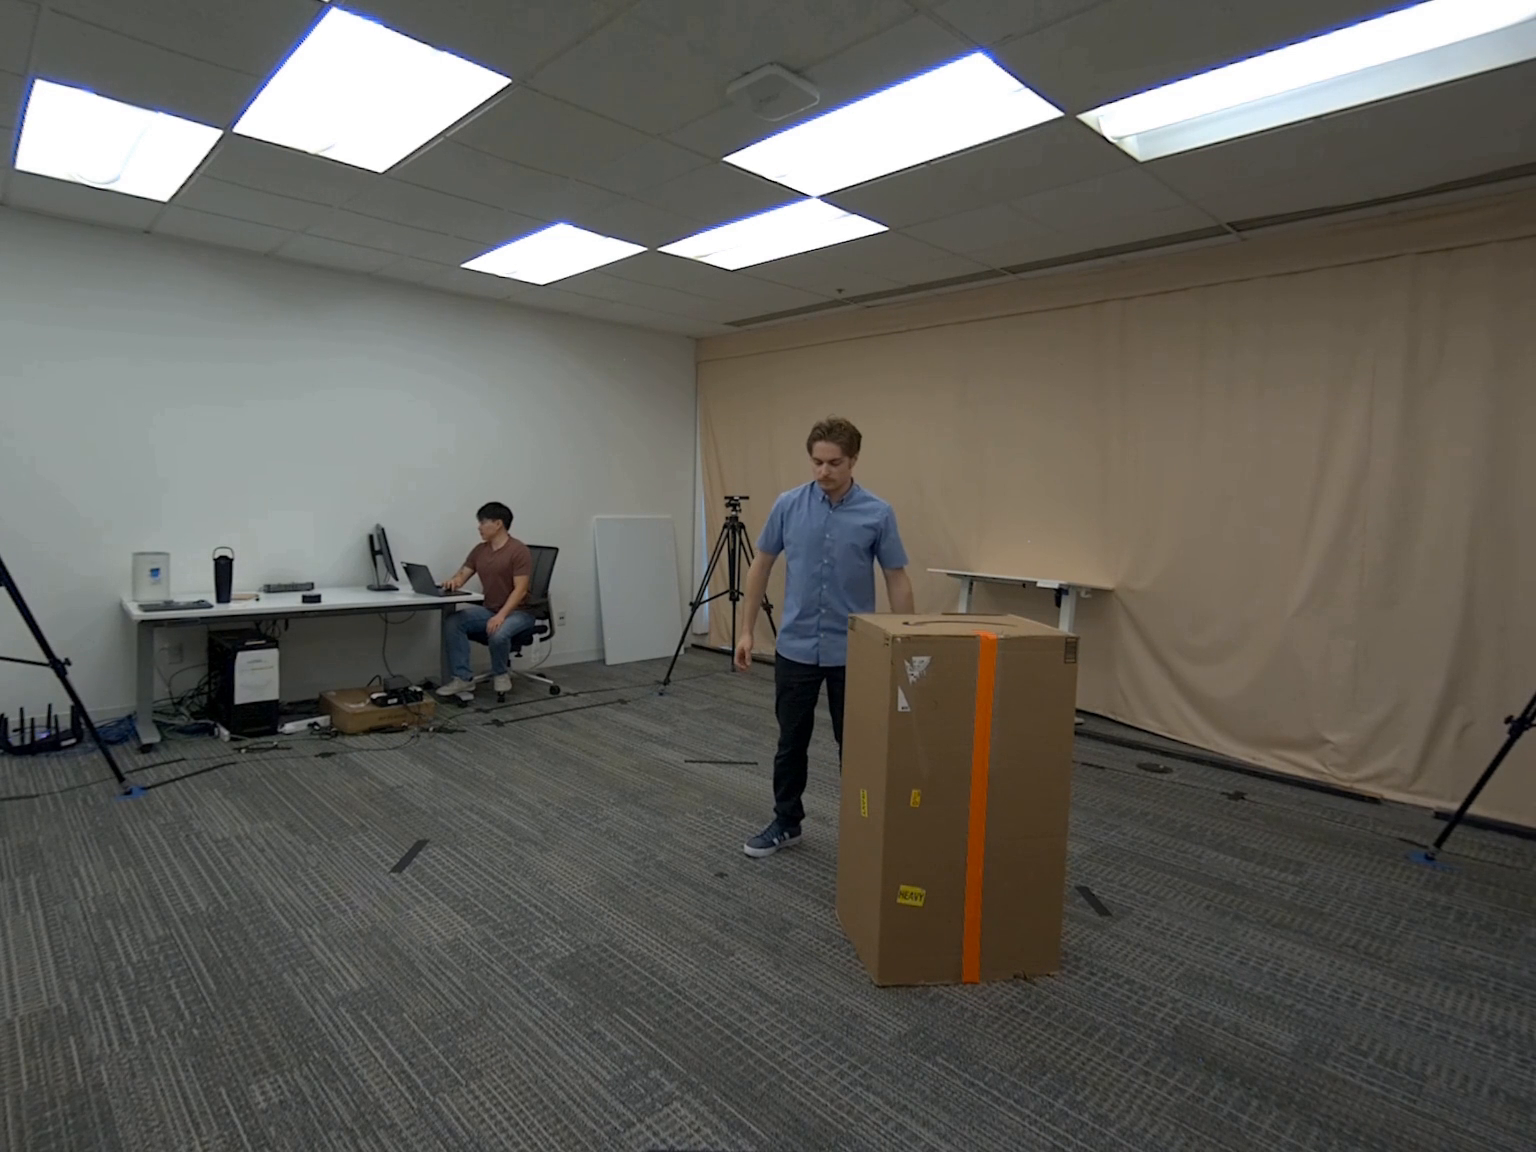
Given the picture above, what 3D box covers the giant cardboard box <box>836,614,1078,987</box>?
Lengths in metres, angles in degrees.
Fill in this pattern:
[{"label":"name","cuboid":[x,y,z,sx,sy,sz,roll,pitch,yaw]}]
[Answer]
[{"label":"giant cardboard box","cuboid":[0.565,0.658,2.629,0.573,1.023,0.431,1,4,-11]}]
